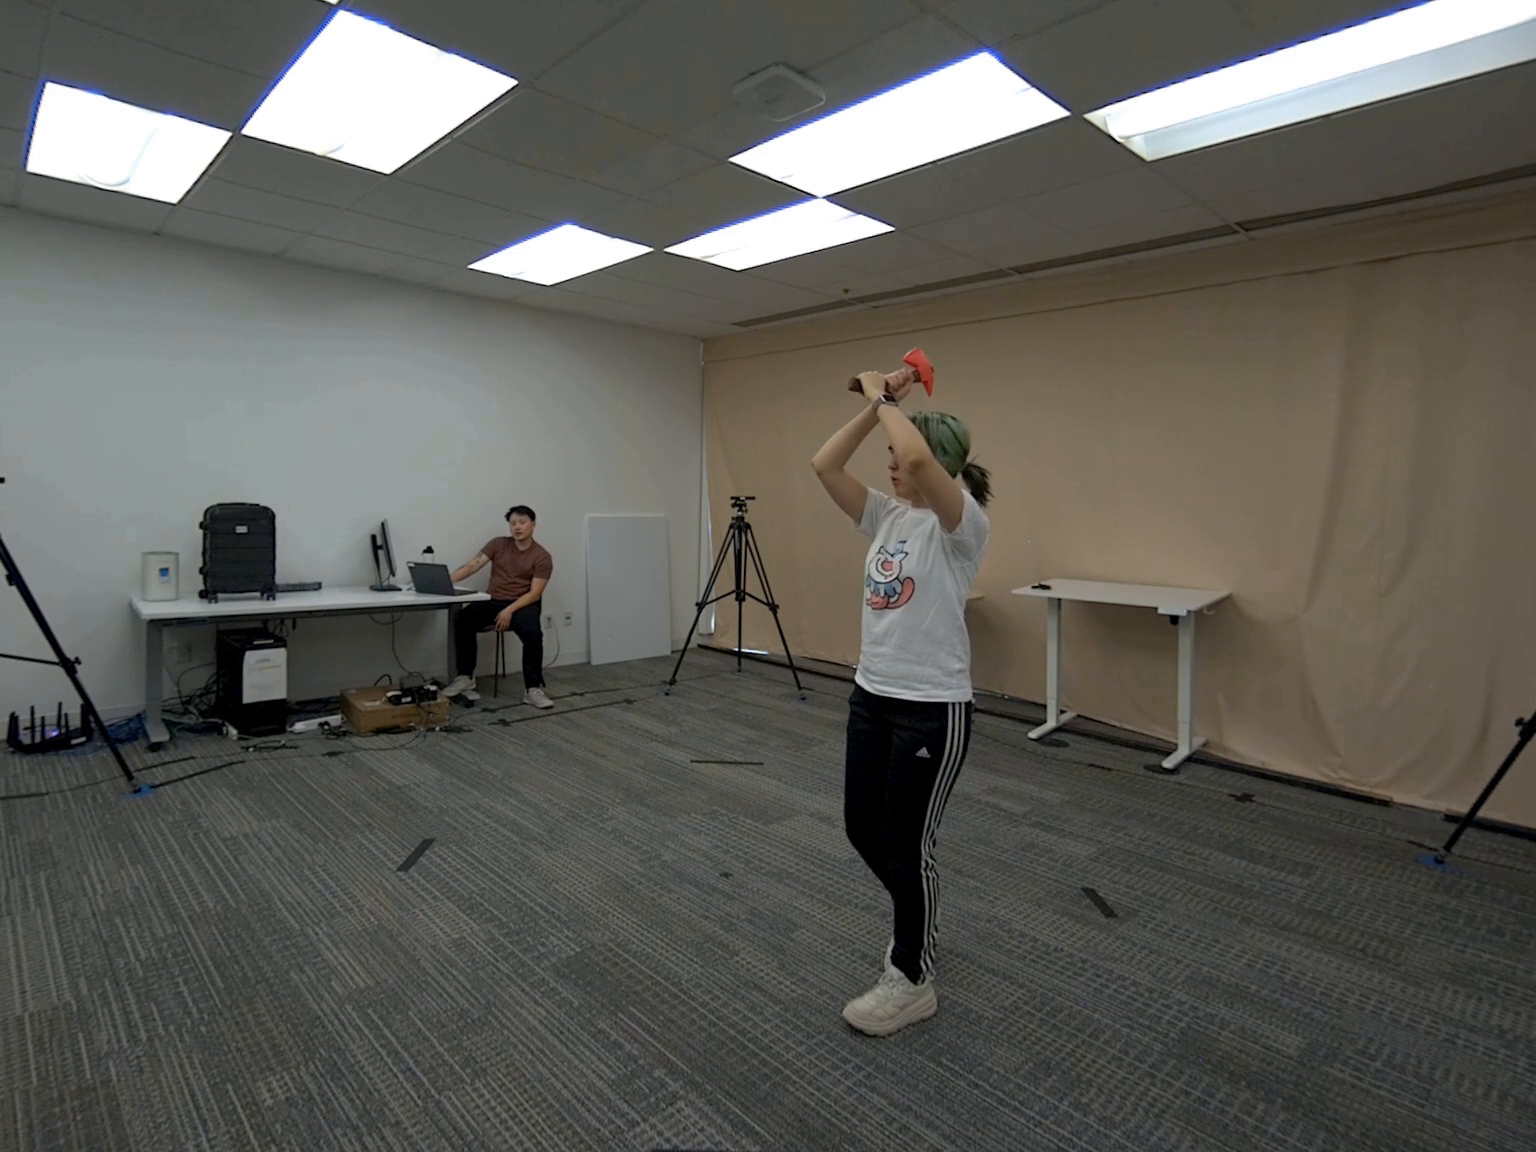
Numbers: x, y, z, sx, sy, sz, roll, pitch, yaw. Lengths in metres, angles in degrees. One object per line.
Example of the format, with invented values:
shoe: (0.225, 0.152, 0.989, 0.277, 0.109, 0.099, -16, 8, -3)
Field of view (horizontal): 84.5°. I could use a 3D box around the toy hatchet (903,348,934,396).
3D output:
toy hatchet: (0.322, -0.555, 2.253, 0.265, 0.131, 0.030, -1, 3, -23)
